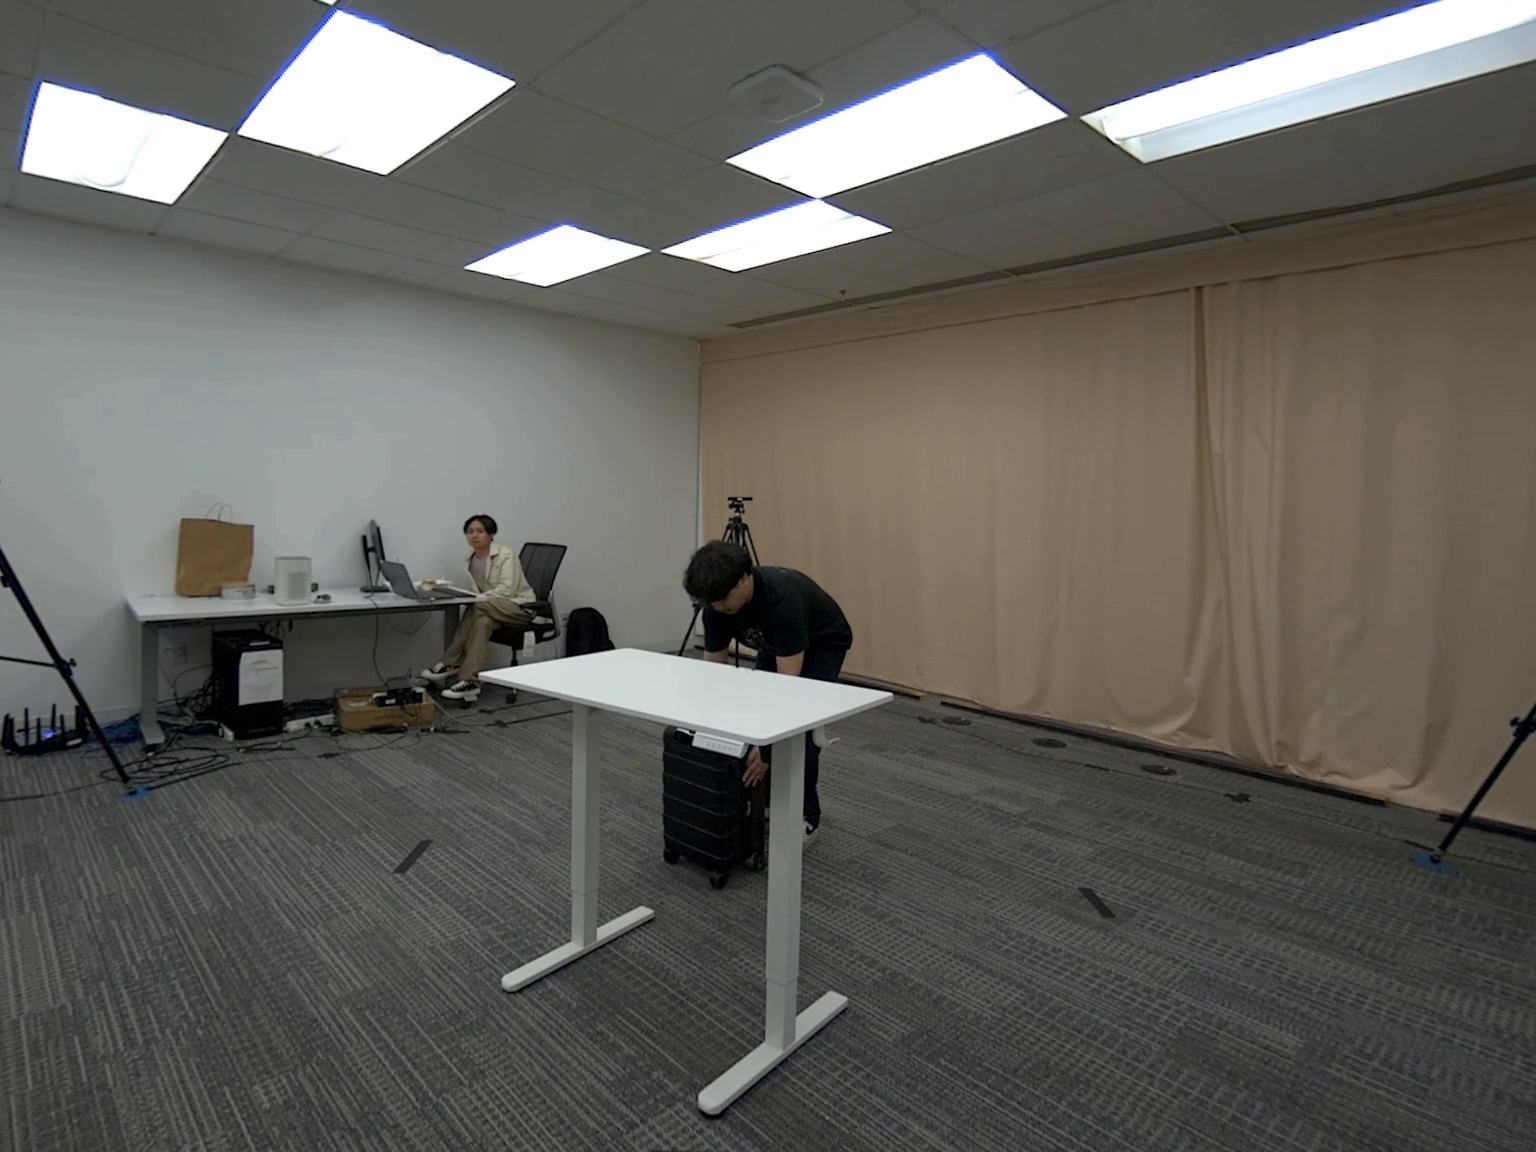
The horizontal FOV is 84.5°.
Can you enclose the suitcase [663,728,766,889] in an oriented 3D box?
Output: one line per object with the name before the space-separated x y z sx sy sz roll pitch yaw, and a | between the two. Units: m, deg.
suitcase | -0.216 0.824 3.181 0.385 0.548 0.243 4 6 44
